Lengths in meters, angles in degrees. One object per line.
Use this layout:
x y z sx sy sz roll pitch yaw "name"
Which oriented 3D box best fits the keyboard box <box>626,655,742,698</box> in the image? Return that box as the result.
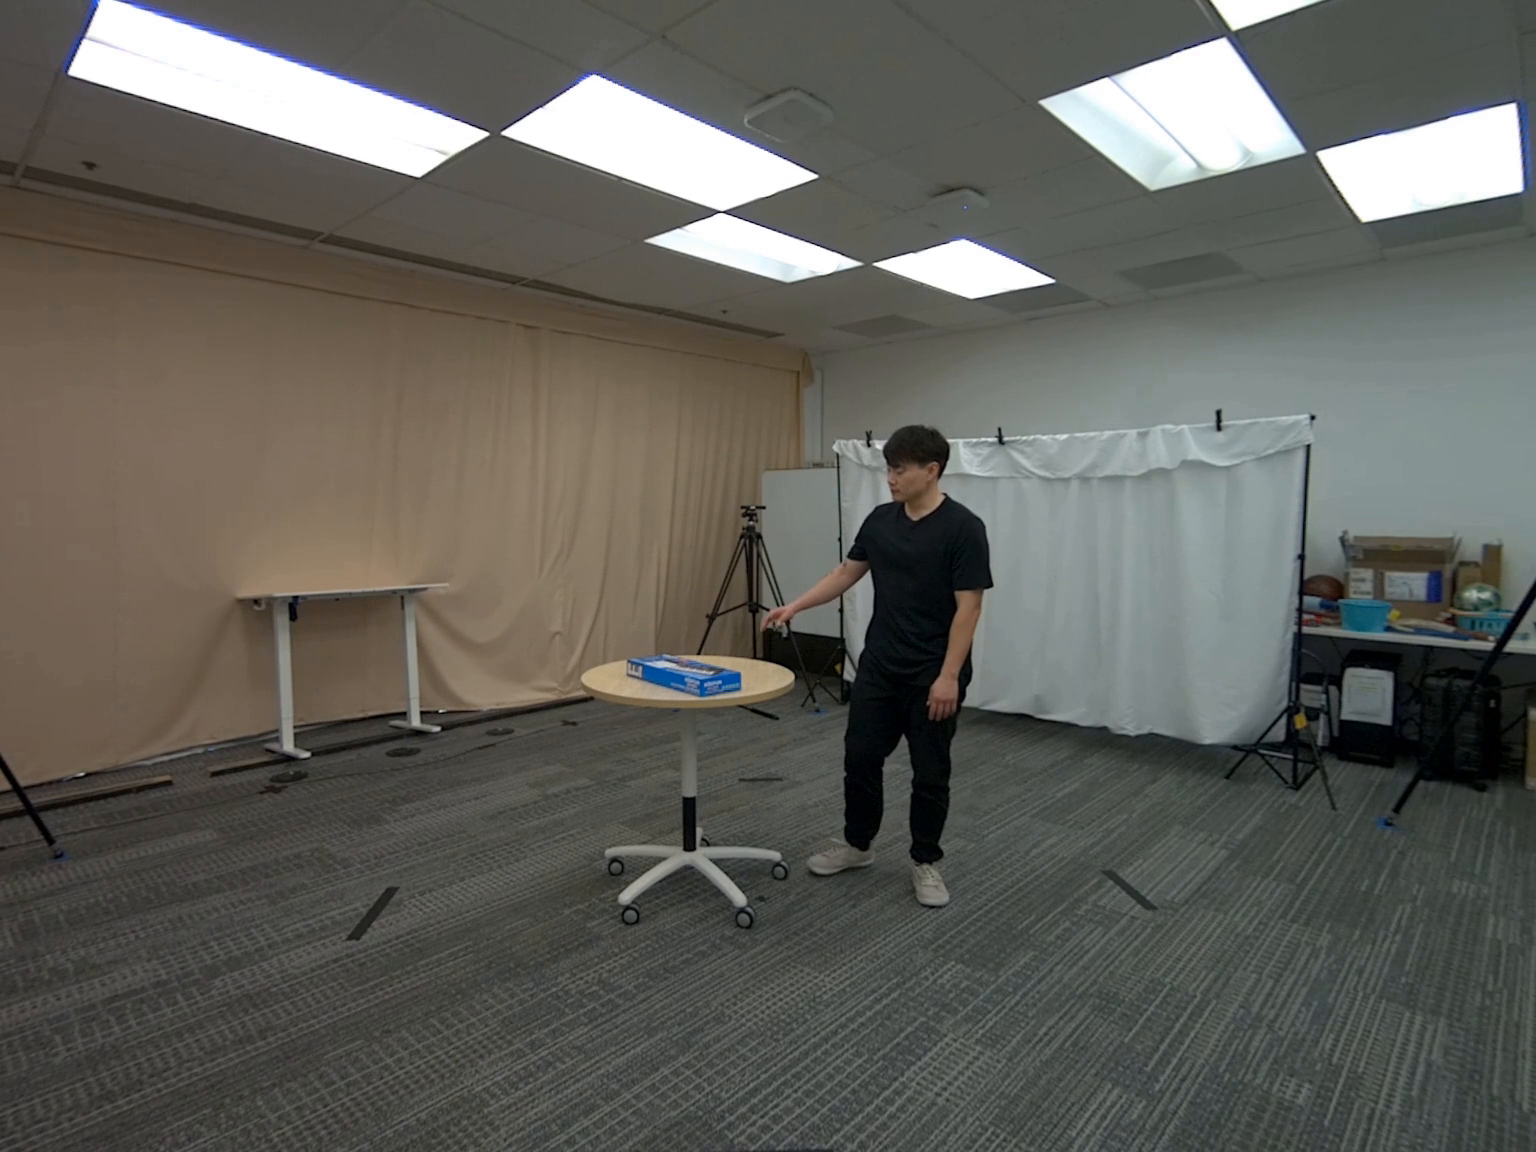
-0.298 0.342 2.910 0.170 0.059 0.451 -4 6 -41 "keyboard box"
